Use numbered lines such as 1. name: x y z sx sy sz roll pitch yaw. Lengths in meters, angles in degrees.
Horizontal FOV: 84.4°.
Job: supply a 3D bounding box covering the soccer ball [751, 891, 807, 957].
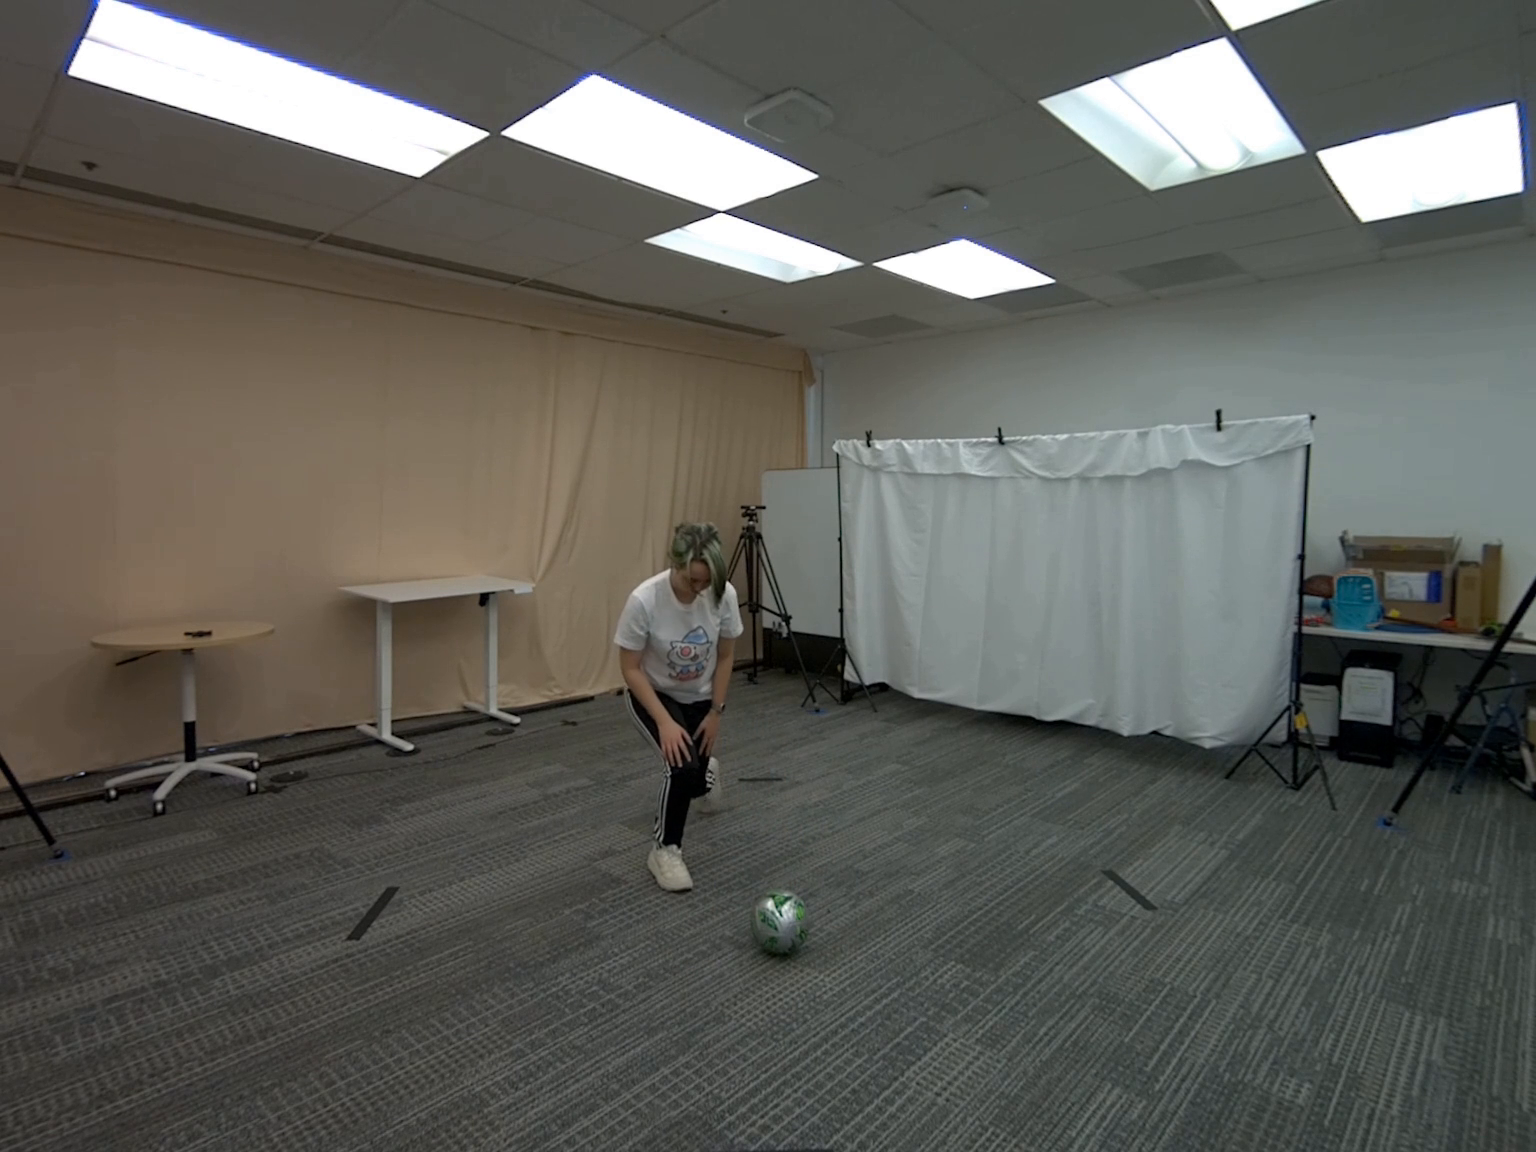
1. soccer ball: 0.042 1.082 2.630 0.187 0.187 0.188 0 4 -2
